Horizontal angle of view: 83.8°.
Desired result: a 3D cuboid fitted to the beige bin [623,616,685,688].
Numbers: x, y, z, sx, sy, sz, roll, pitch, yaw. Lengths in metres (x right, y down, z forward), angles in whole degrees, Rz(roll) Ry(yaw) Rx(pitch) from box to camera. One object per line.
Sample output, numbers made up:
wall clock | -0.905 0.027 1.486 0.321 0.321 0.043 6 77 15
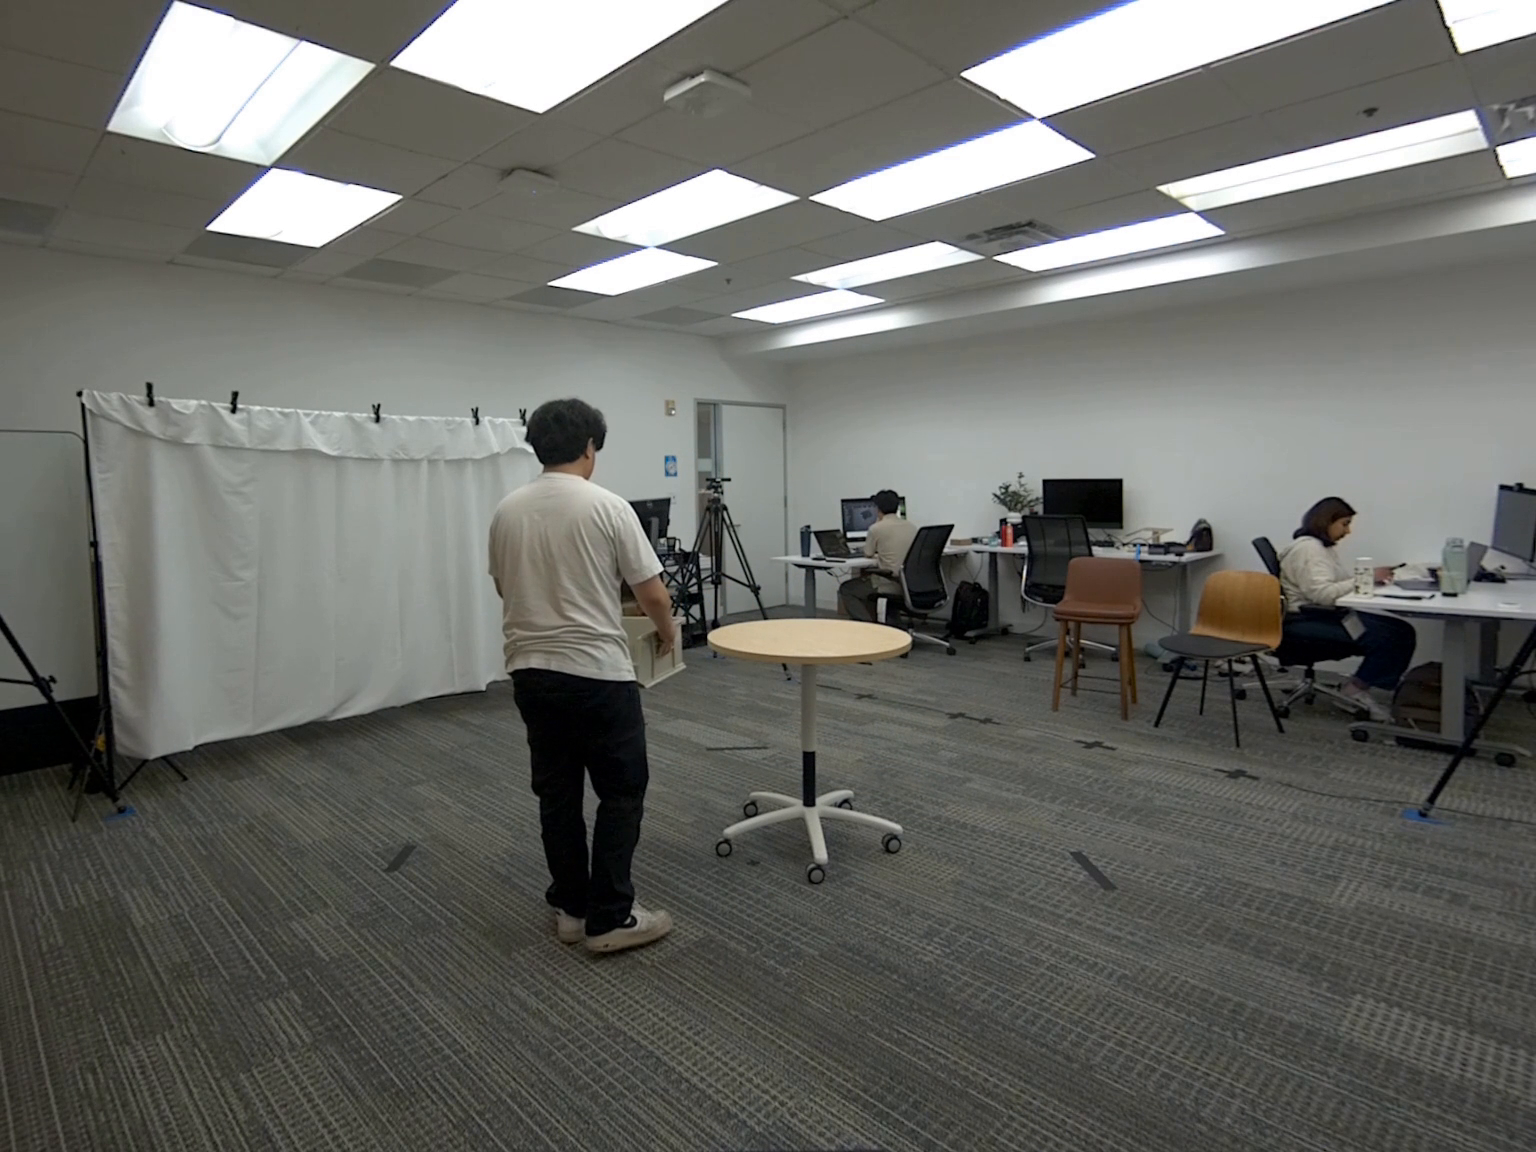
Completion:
beige bin | -0.541 0.261 2.960 0.431 0.189 0.370 -1 3 22
